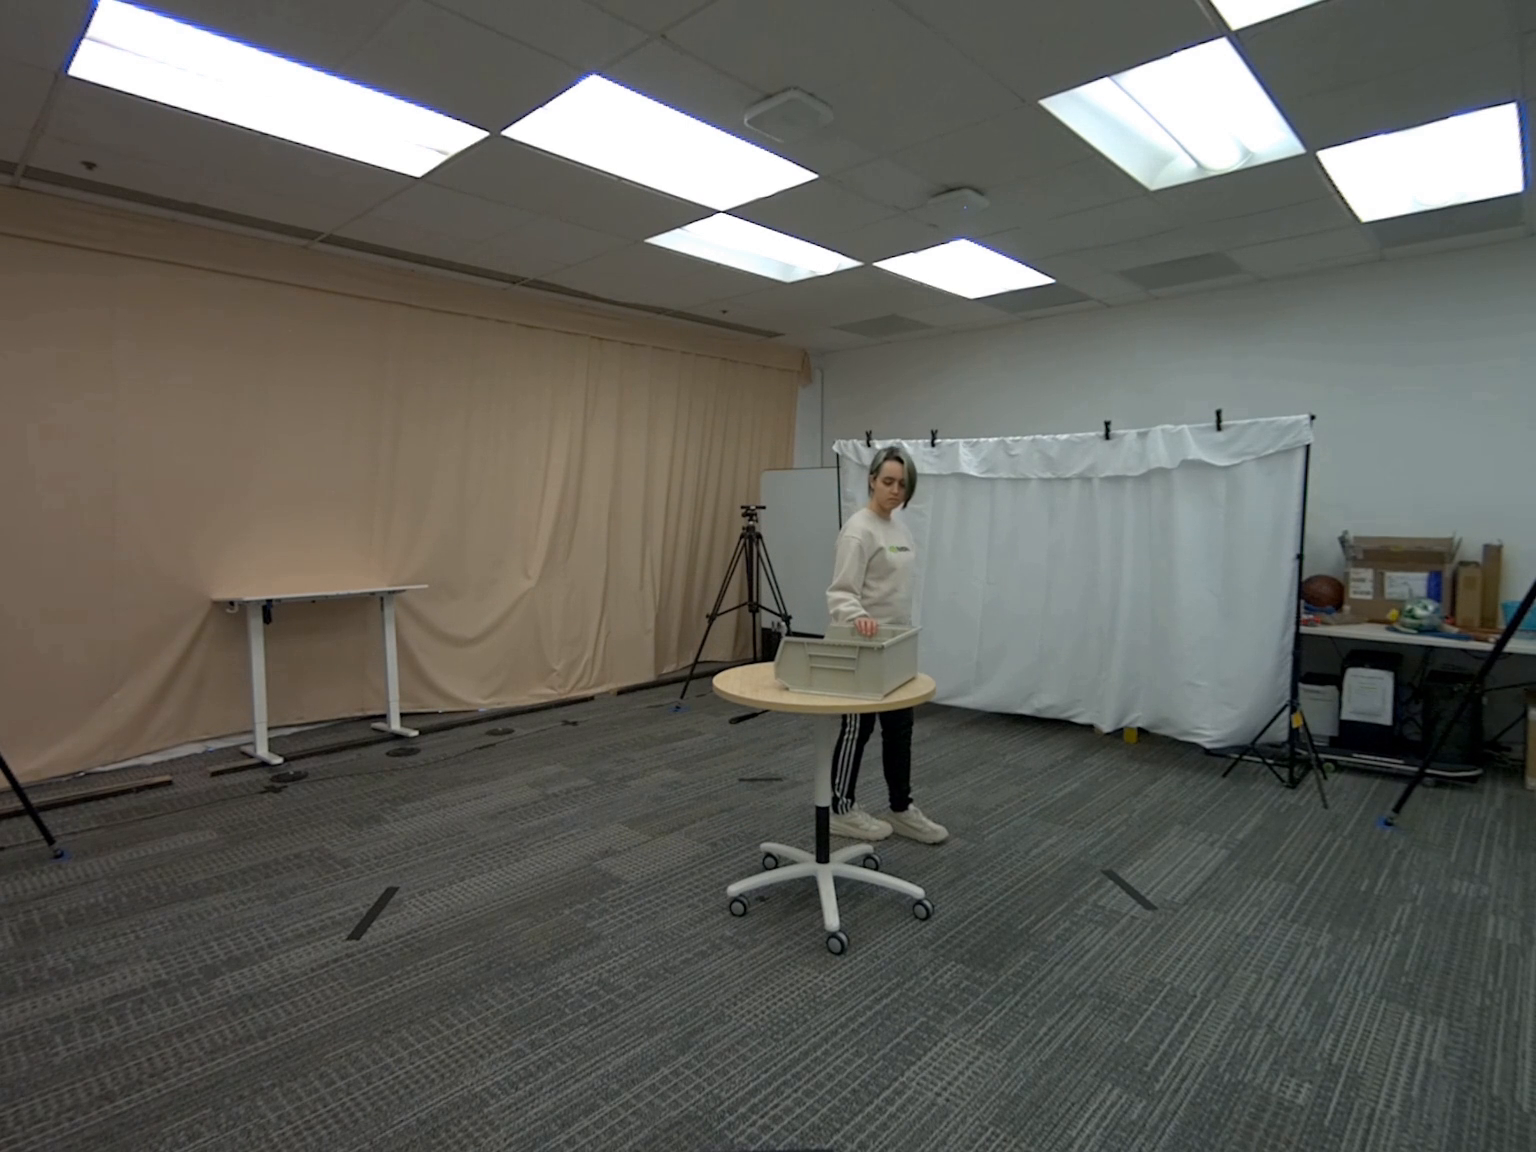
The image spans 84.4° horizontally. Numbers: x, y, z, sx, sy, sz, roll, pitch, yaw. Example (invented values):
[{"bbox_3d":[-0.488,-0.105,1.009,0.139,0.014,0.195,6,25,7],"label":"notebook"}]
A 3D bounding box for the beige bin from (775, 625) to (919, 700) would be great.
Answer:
[{"bbox_3d":[0.281,0.279,2.855,0.388,0.188,0.412,4,6,28],"label":"beige bin"}]
